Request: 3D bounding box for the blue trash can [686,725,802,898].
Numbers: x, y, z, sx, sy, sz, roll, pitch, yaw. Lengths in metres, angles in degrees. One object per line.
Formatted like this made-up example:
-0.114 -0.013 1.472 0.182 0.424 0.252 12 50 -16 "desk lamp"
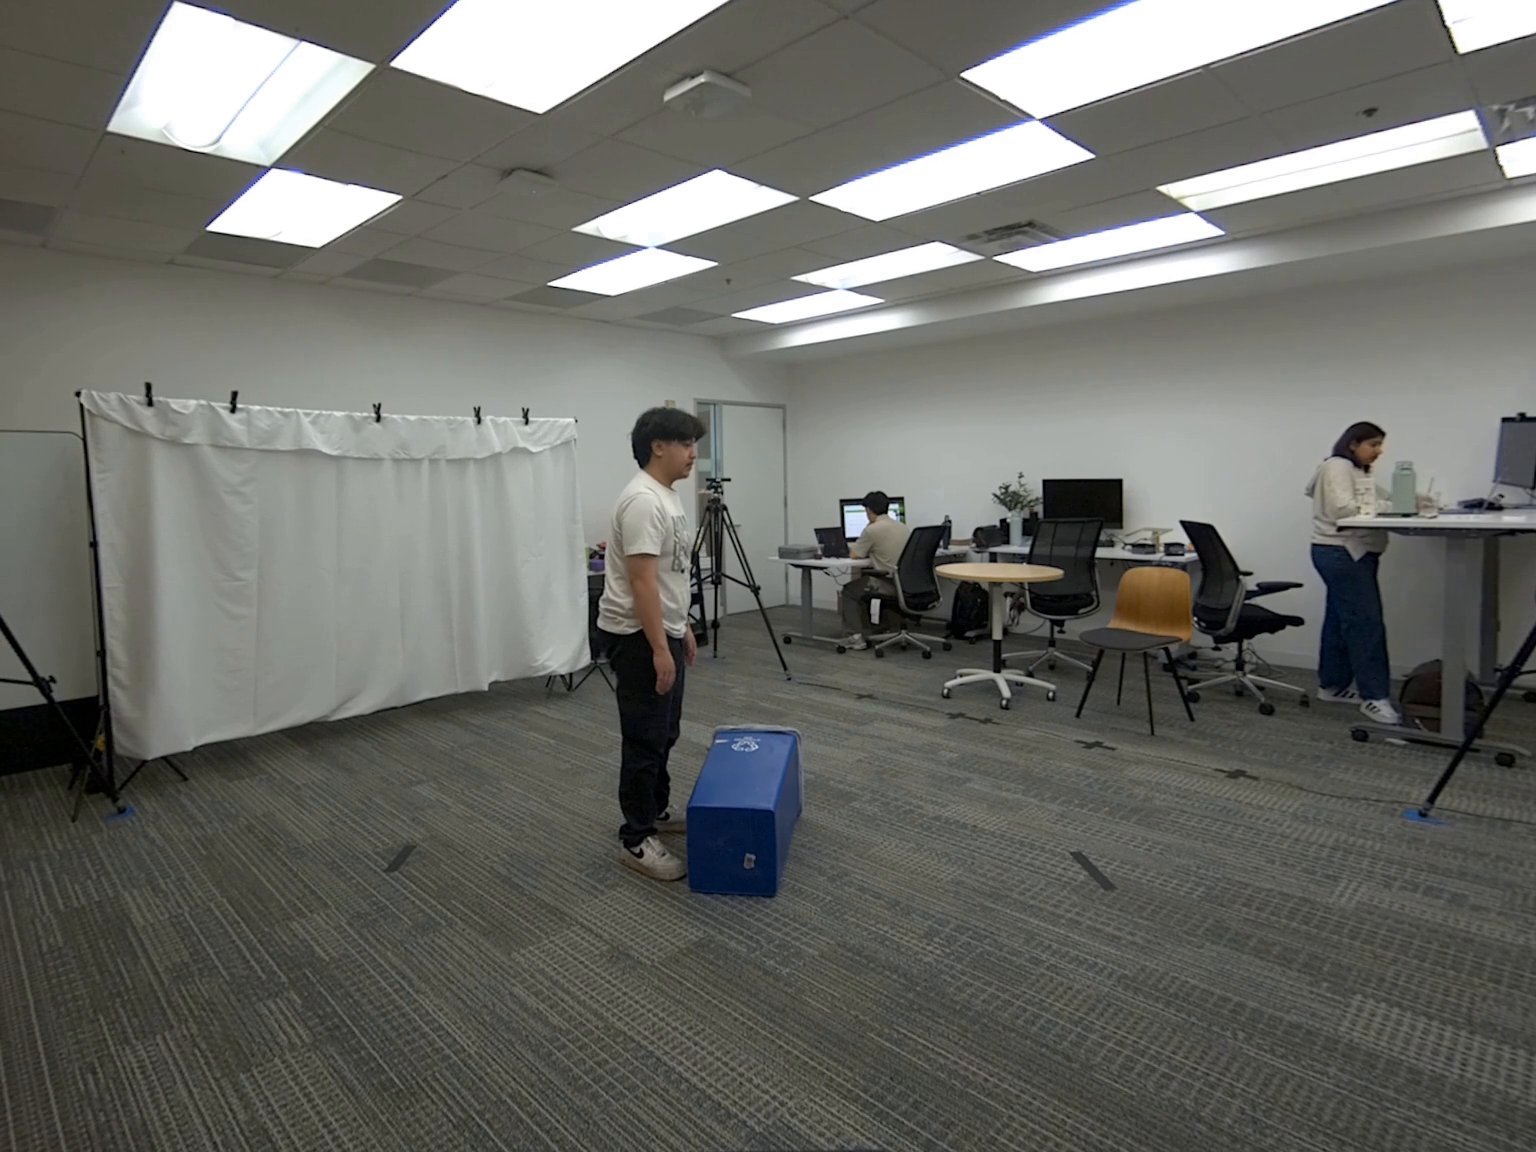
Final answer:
-0.075 0.866 3.202 0.377 0.375 0.714 0 9 6 "blue trash can"
